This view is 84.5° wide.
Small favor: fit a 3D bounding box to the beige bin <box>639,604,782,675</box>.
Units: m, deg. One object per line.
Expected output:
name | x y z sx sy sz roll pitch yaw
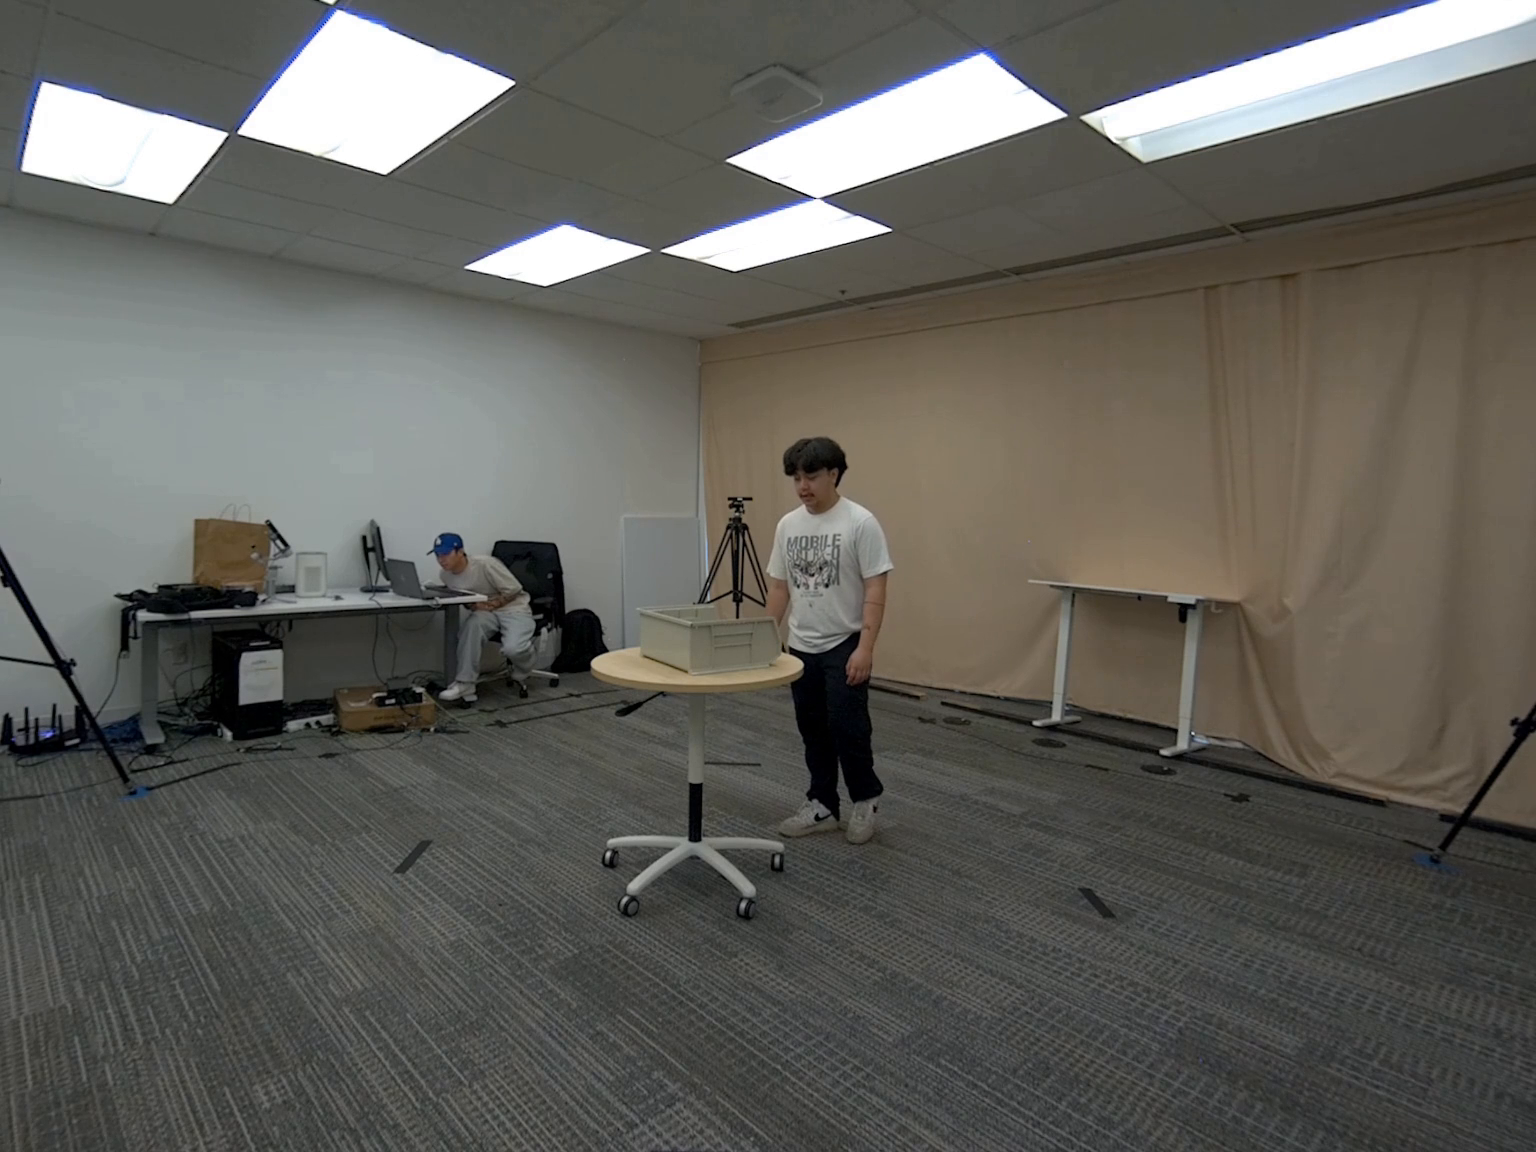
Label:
beige bin | -0.226 0.222 3.061 0.370 0.188 0.432 -4 7 -33
